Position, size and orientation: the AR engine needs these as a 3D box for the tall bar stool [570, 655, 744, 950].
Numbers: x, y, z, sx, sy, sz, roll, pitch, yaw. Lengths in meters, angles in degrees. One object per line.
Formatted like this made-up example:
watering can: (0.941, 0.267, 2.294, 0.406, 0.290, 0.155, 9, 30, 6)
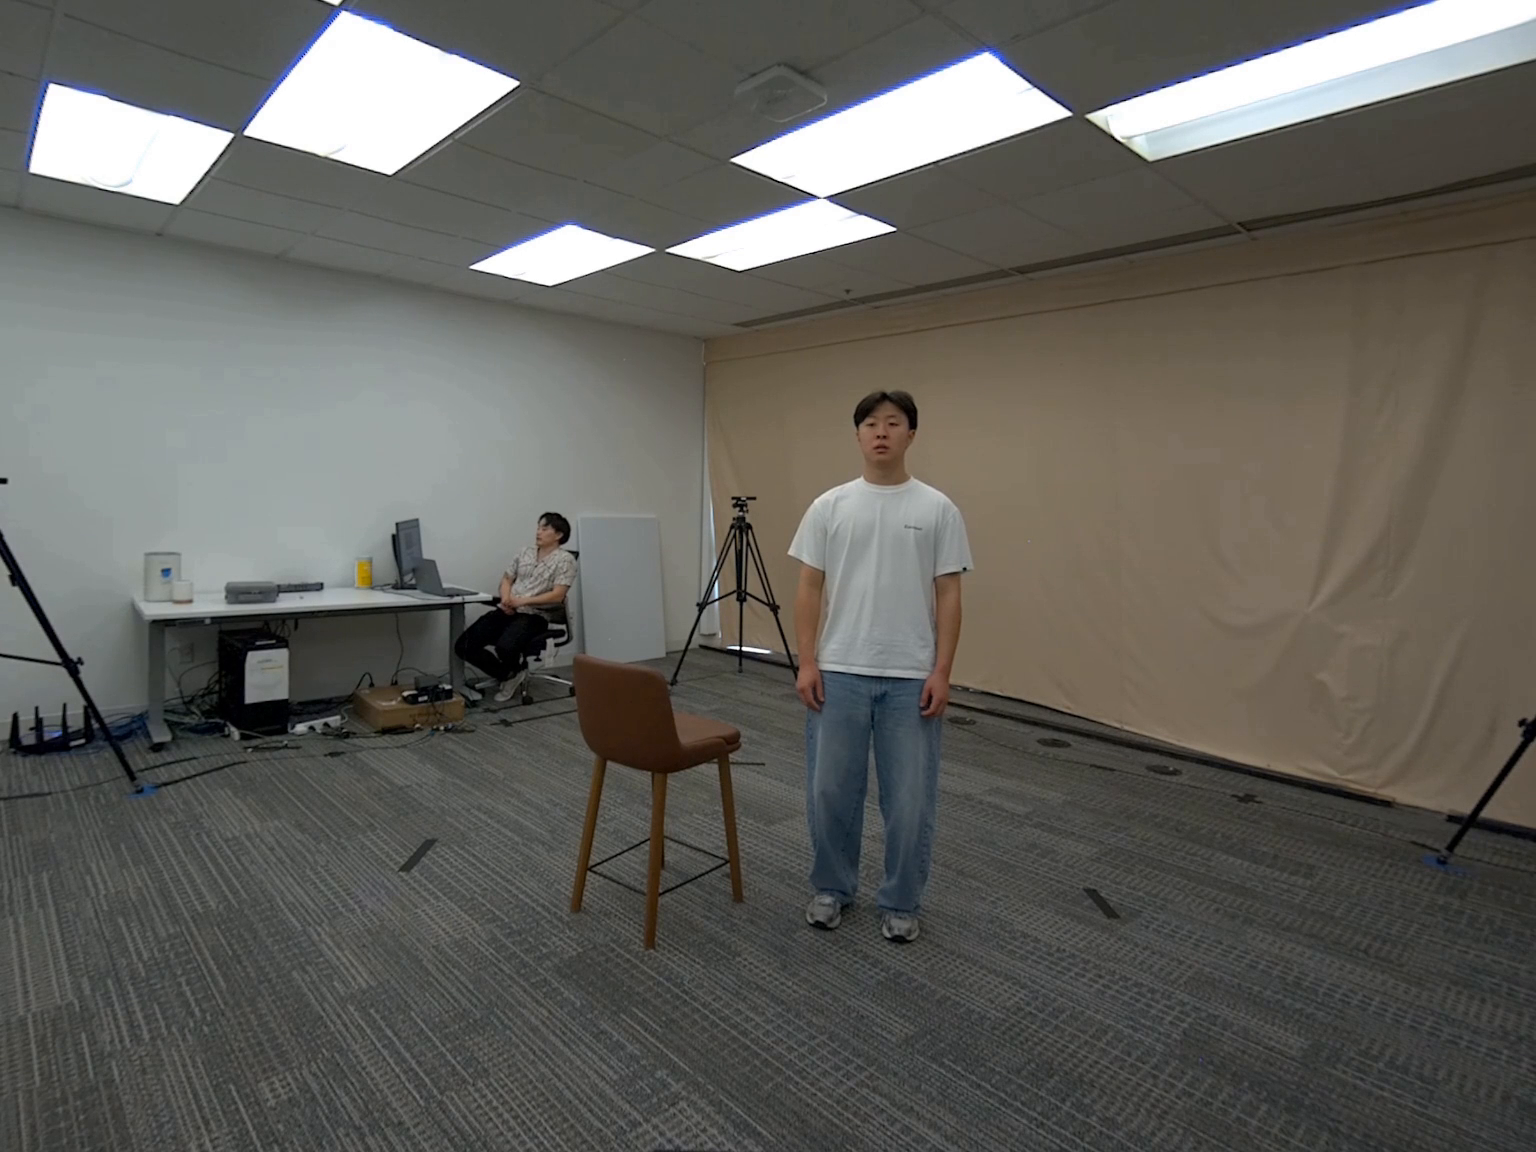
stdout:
tall bar stool: (-0.377, 0.687, 2.848, 0.468, 0.887, 0.458, 4, 6, 39)
